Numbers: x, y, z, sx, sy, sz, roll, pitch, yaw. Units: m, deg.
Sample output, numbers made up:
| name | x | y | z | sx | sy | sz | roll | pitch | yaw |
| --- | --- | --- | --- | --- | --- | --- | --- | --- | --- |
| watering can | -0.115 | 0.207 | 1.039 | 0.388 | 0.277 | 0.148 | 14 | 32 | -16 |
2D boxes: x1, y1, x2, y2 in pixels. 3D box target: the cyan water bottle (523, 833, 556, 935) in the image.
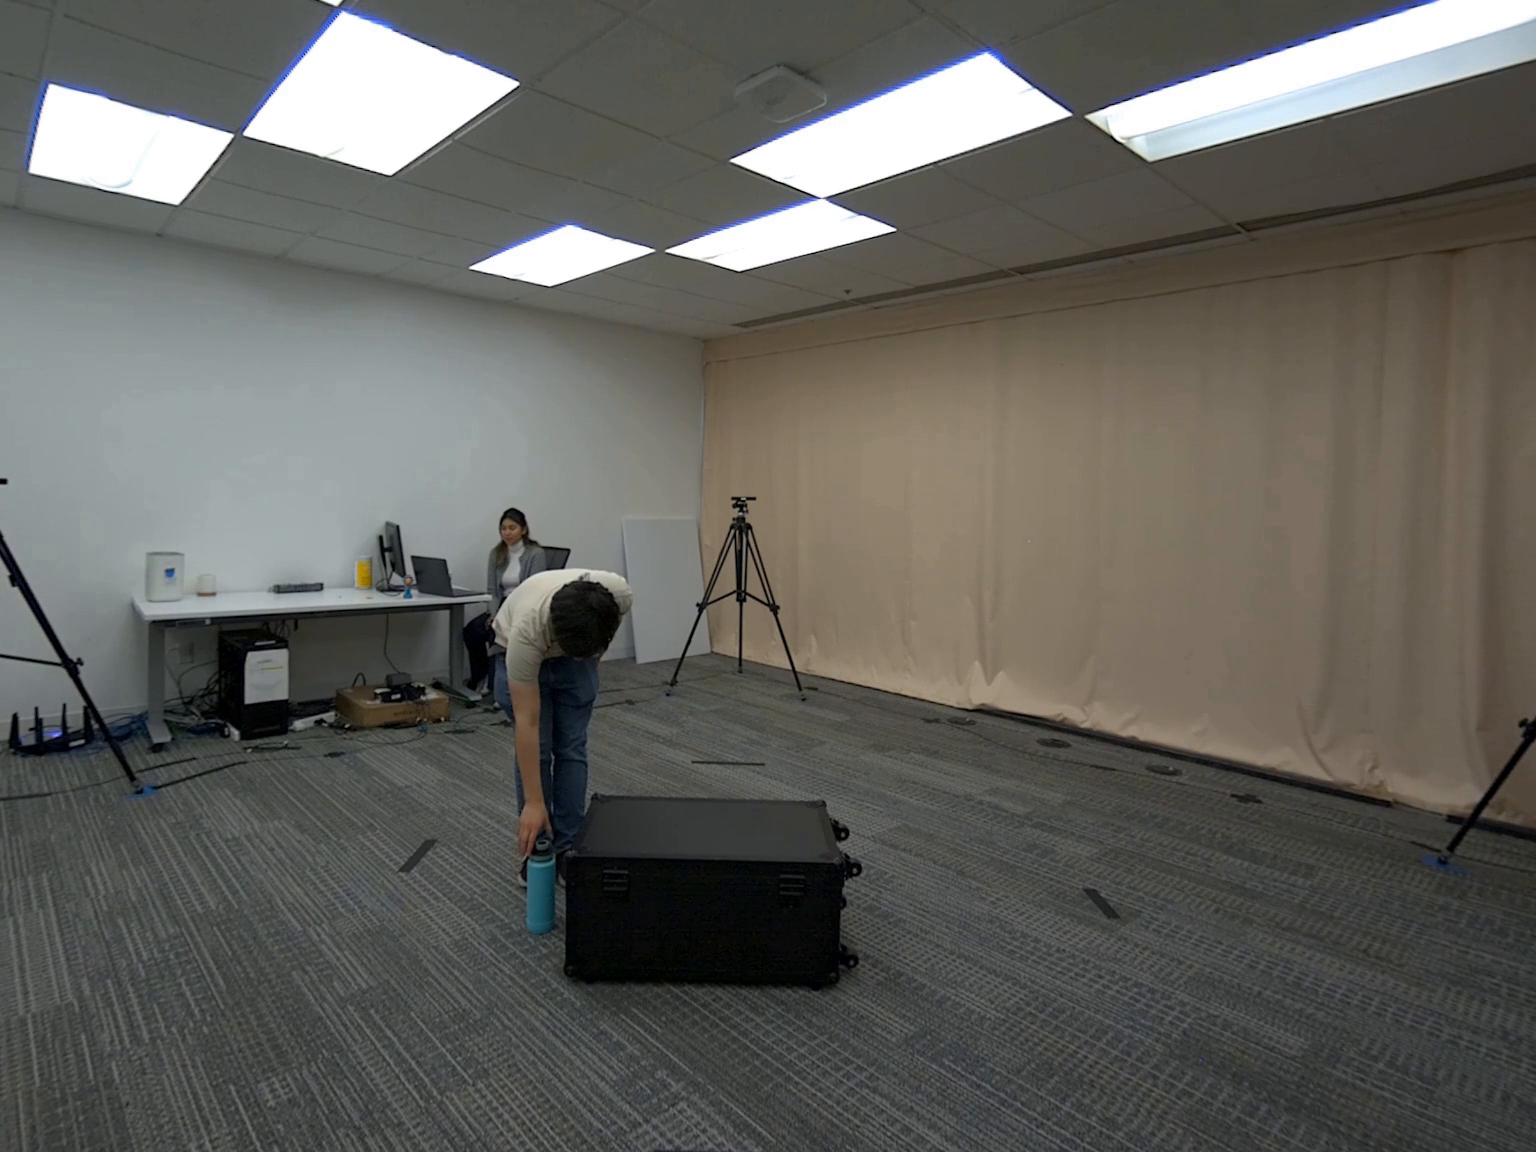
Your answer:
| name | x | y | z | sx | sy | sz | roll | pitch | yaw |
| --- | --- | --- | --- | --- | --- | --- | --- | --- | --- |
| cyan water bottle | -0.730 | 0.983 | 2.709 | 0.092 | 0.282 | 0.092 | 2 | 4 | -2 |
